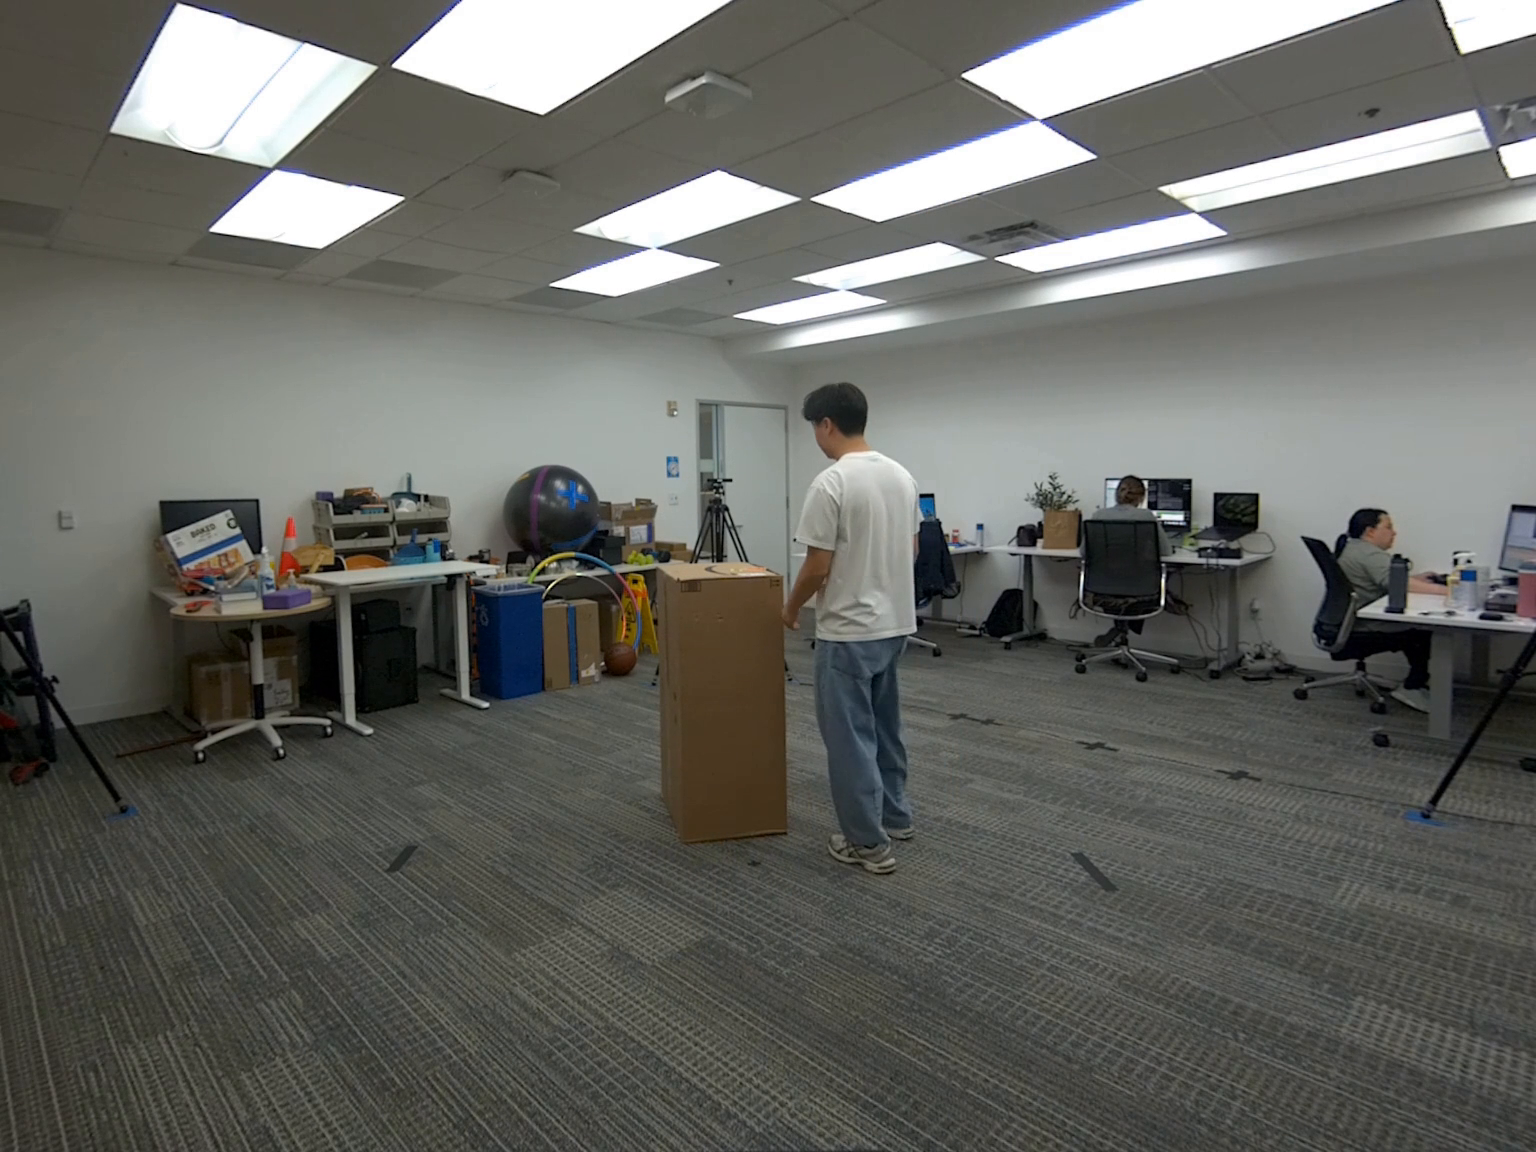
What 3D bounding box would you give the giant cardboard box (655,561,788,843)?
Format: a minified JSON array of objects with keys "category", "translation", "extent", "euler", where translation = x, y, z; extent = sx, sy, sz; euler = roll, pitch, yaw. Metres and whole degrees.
[{"category":"giant cardboard box","translation":[-0.208,0.484,3.572],"extent":[0.420,1.022,0.587],"euler":[-2,4,-15]}]
